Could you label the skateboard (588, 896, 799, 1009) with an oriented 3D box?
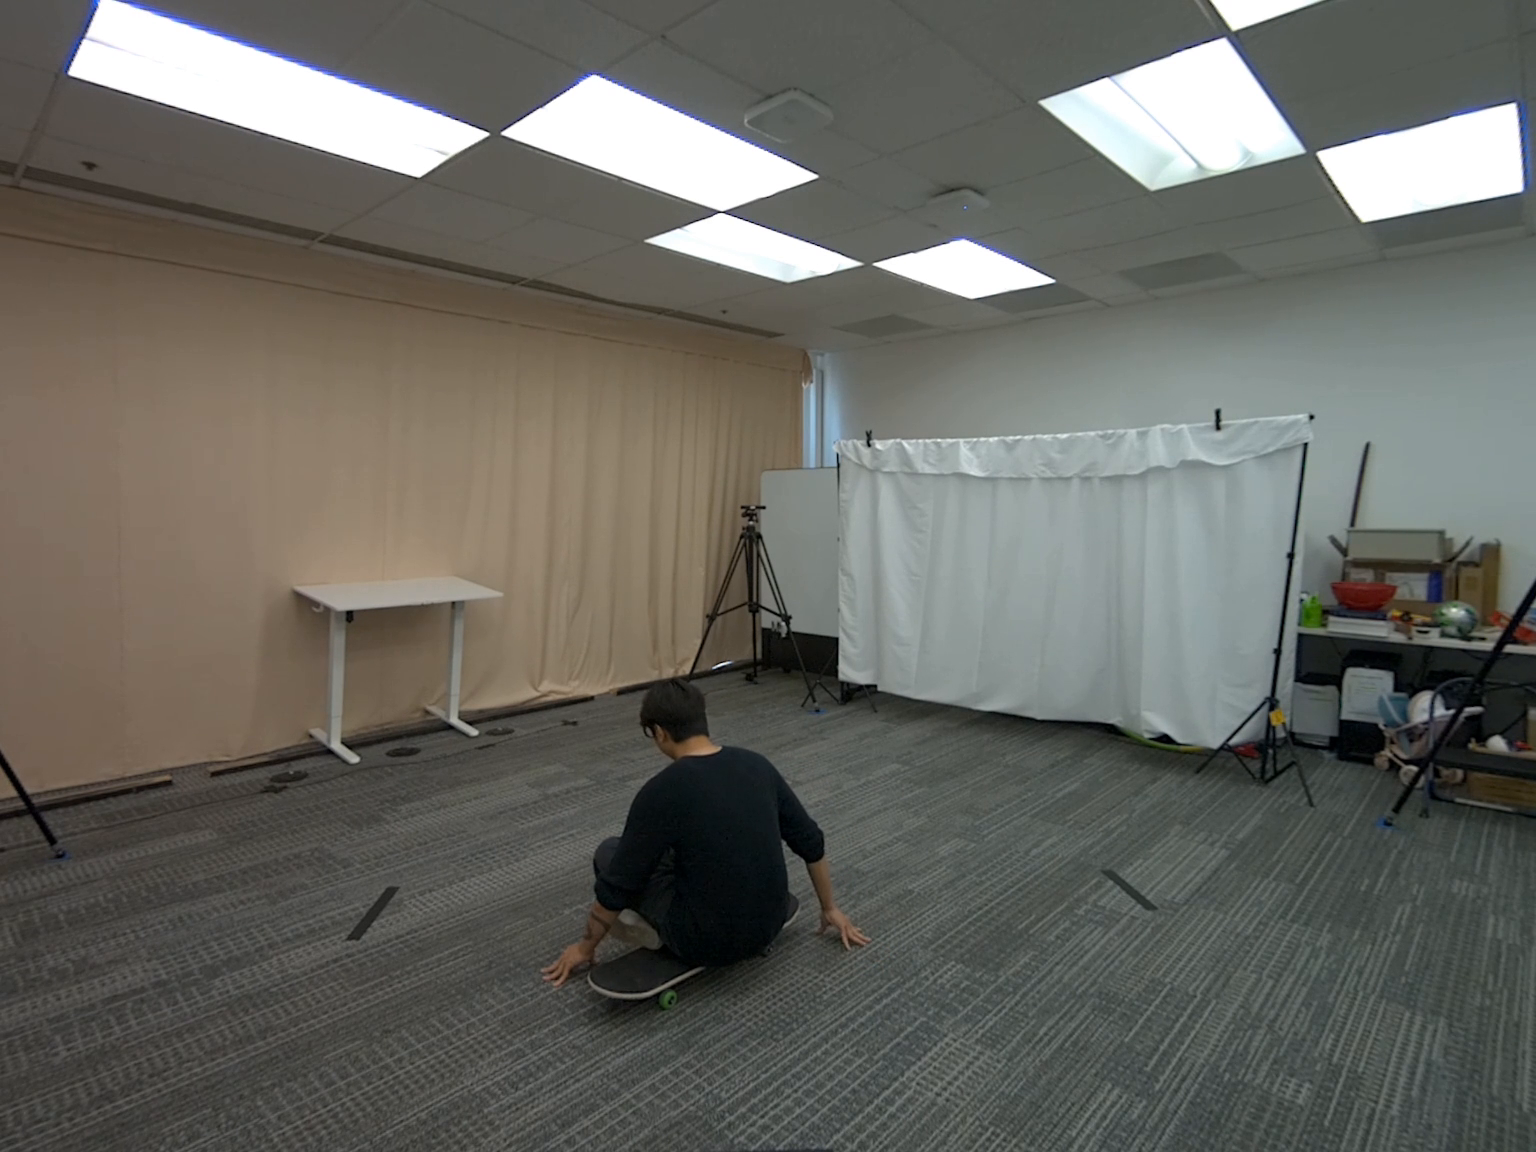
[{"bbox_3d":[-0.201,1.132,2.530,0.761,0.110,0.200,-5,7,-43],"label":"skateboard"}]
